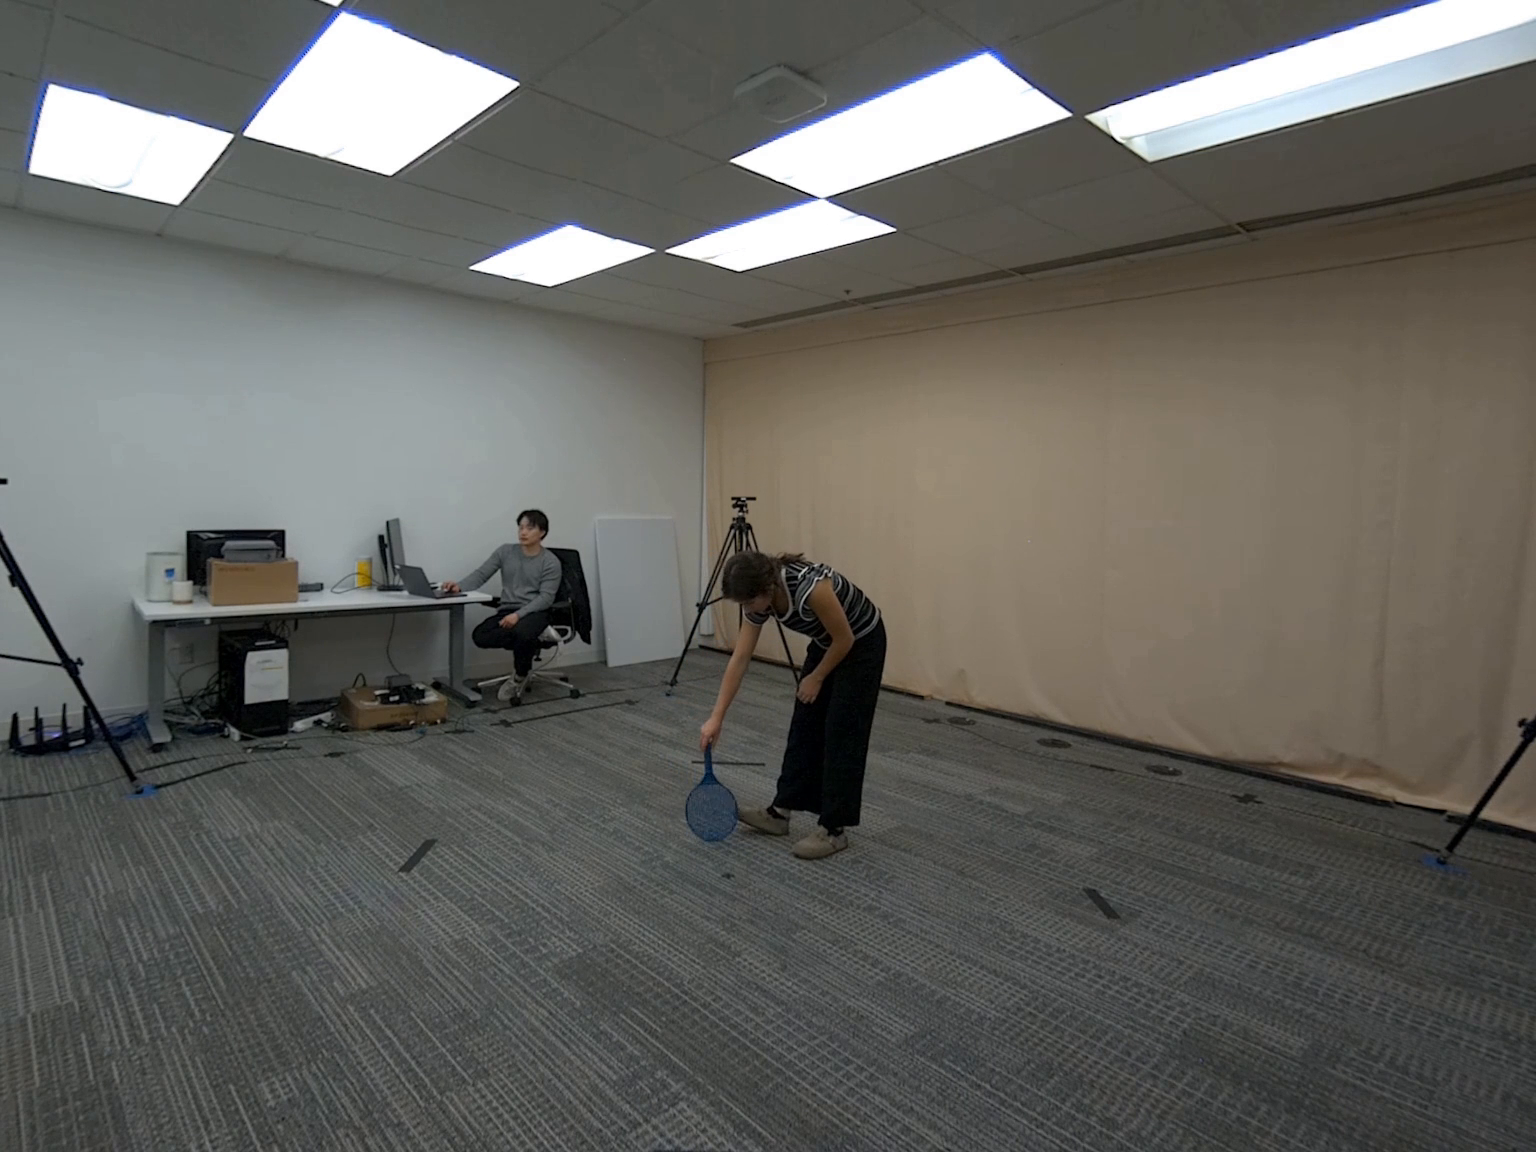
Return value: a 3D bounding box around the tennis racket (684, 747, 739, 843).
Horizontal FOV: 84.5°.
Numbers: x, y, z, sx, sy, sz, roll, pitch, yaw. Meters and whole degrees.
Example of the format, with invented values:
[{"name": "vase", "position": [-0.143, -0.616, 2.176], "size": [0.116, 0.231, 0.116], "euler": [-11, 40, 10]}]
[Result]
[{"name": "tennis racket", "position": [-0.234, 0.861, 3.366], "size": [0.213, 0.429, 0.032], "euler": [-3, 12, -1]}]
